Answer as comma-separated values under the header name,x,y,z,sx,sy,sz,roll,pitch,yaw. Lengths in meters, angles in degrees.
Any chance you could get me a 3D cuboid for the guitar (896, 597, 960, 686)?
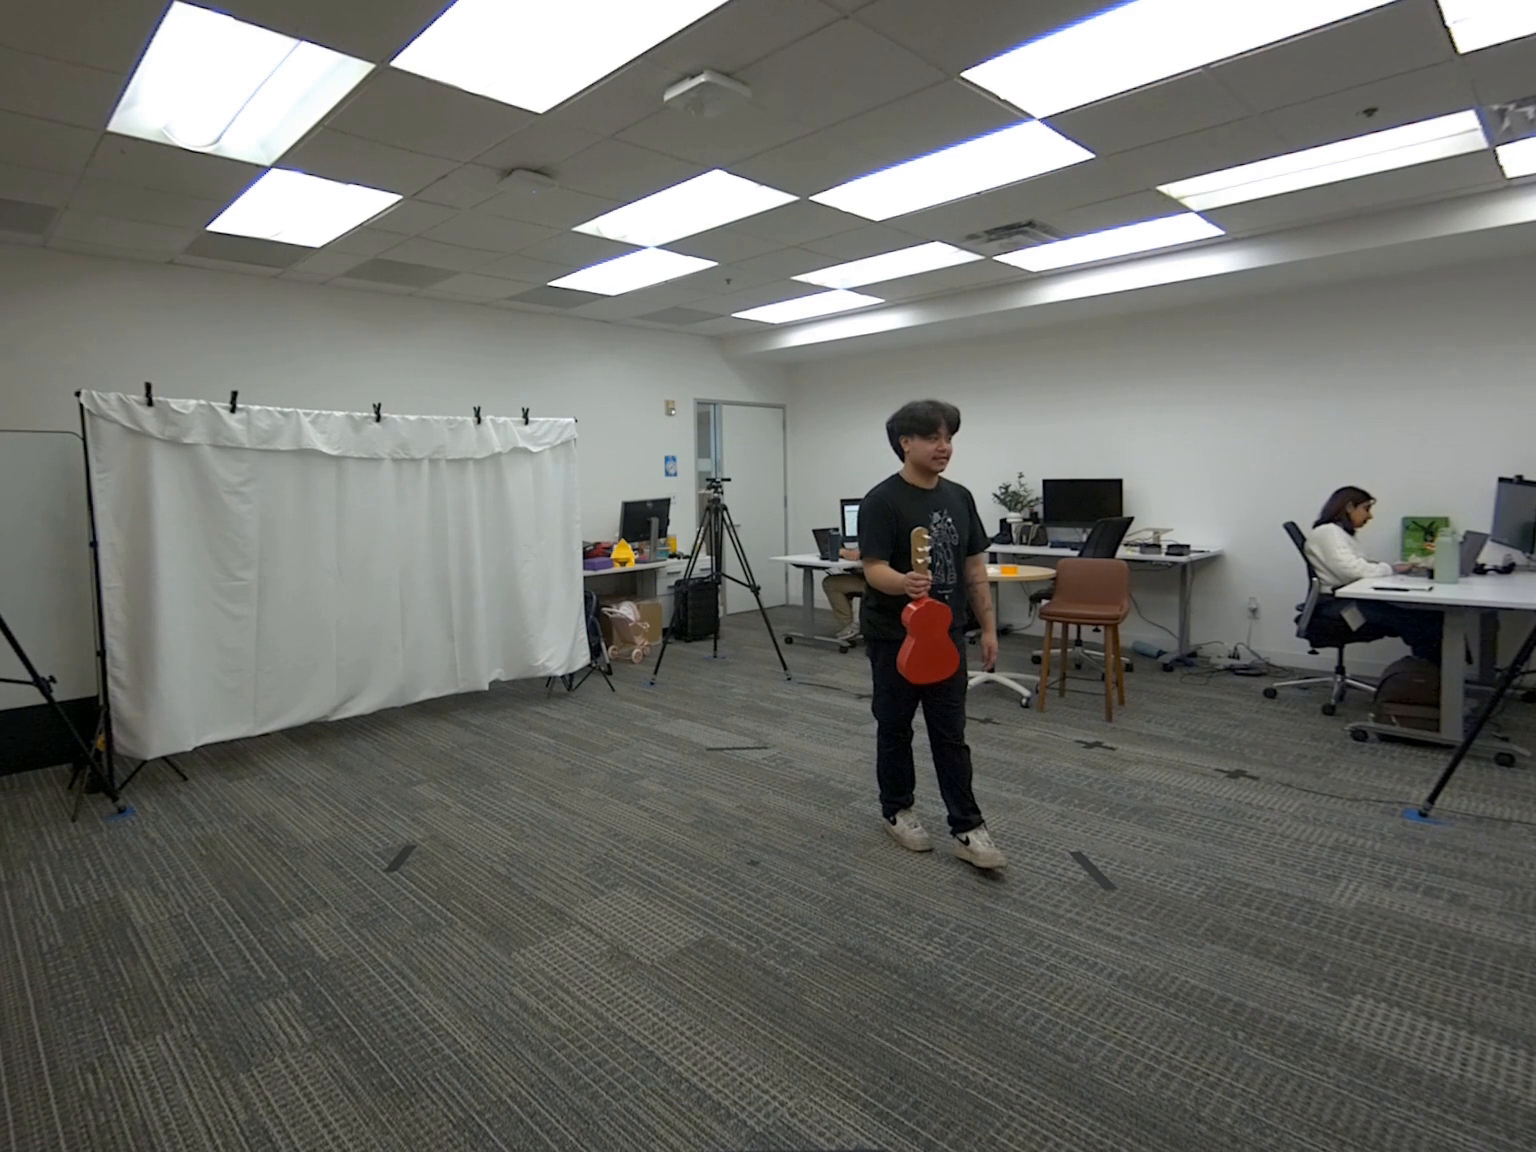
name,x,y,z,sx,sy,sz,roll,pitch,yaw
guitar,0.476,0.104,2.721,0.191,0.489,0.072,-17,16,-11
